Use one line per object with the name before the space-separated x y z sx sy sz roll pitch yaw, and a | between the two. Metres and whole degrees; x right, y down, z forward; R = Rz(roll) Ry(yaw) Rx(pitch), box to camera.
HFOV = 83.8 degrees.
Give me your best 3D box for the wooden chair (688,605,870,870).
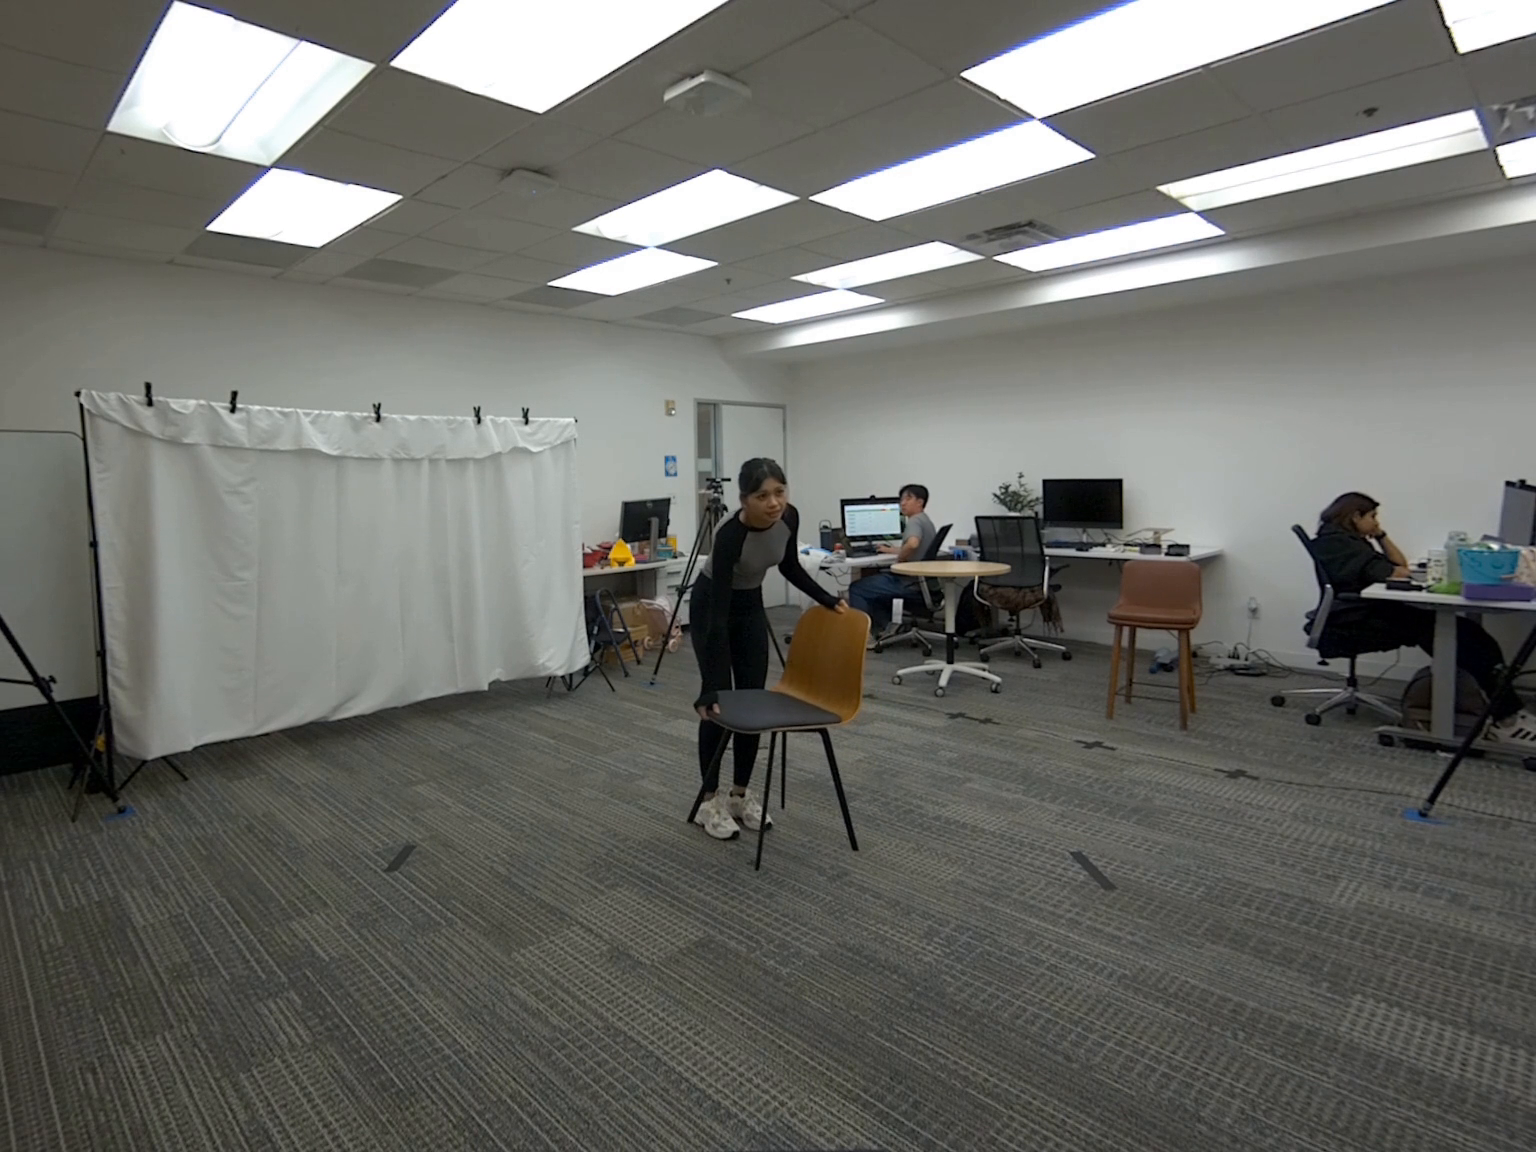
wooden chair | 0.040 0.533 3.095 0.507 0.877 0.493 8 0 -35
